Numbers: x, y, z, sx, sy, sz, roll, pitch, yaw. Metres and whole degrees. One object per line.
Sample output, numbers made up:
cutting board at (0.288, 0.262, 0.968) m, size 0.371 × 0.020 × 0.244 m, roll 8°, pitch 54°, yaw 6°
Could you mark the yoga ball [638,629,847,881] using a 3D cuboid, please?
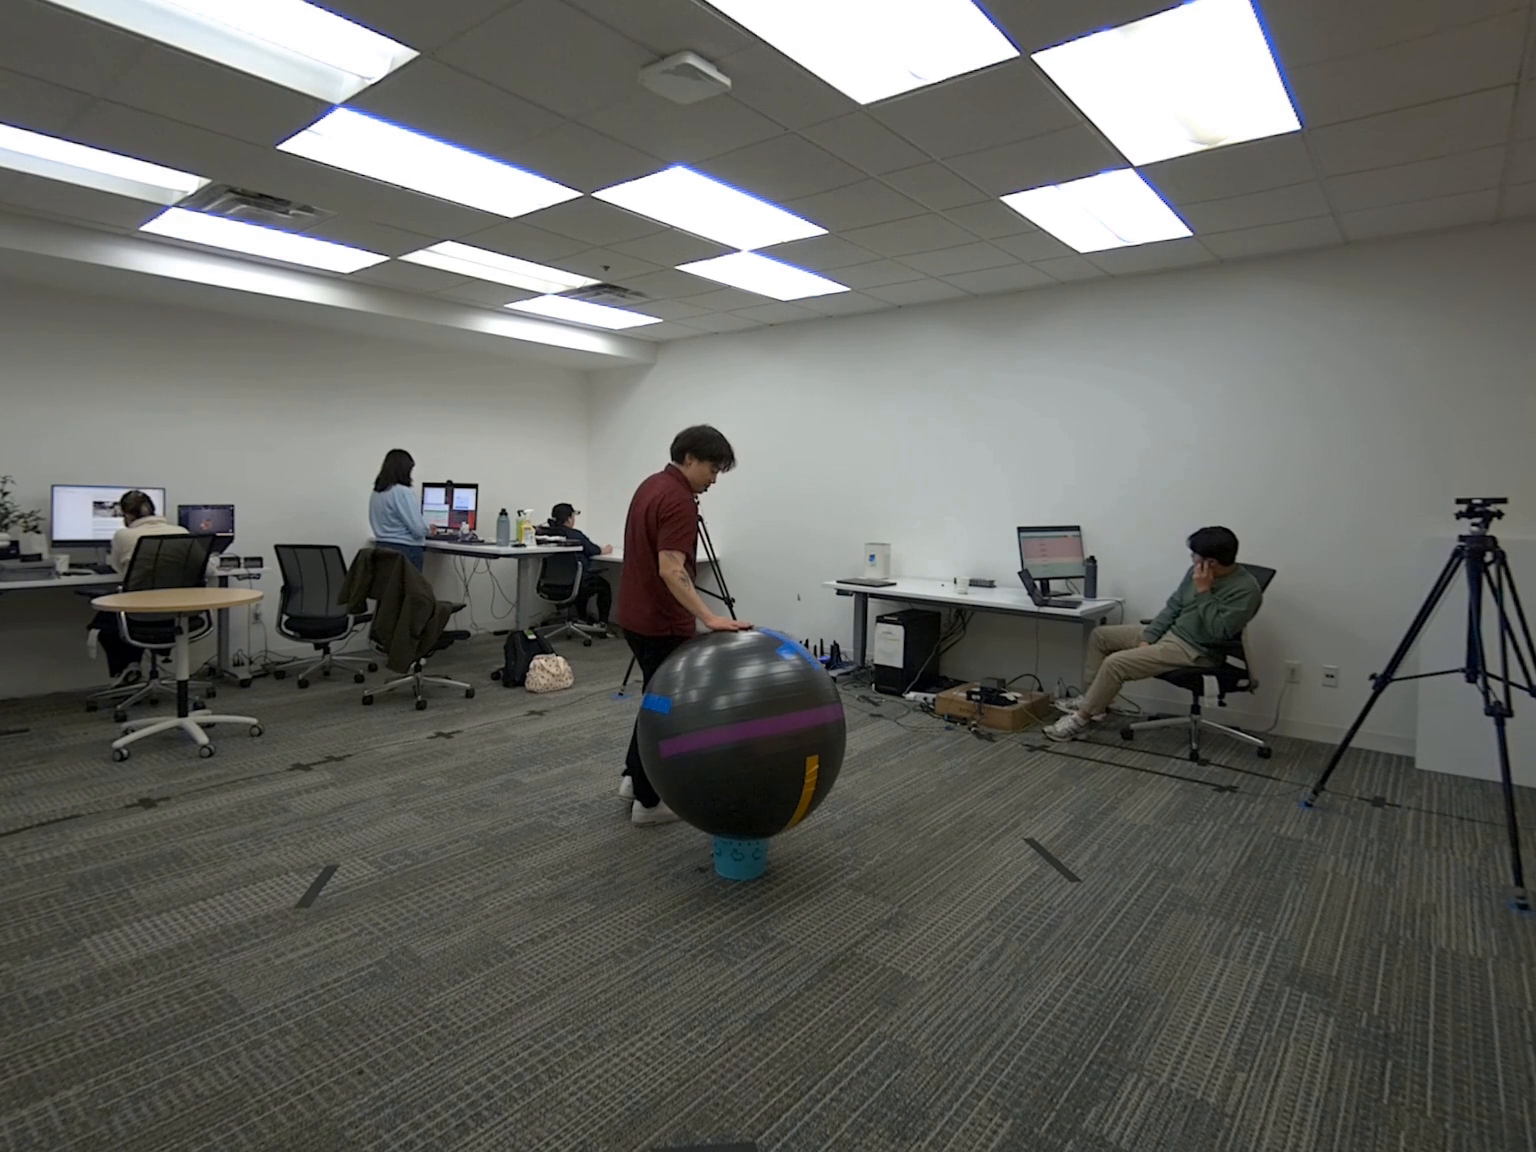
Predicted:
yoga ball at (-0.112, 0.558, 3.105) m, size 0.757 × 0.755 × 0.762 m, roll 1°, pitch 4°, yaw -2°
